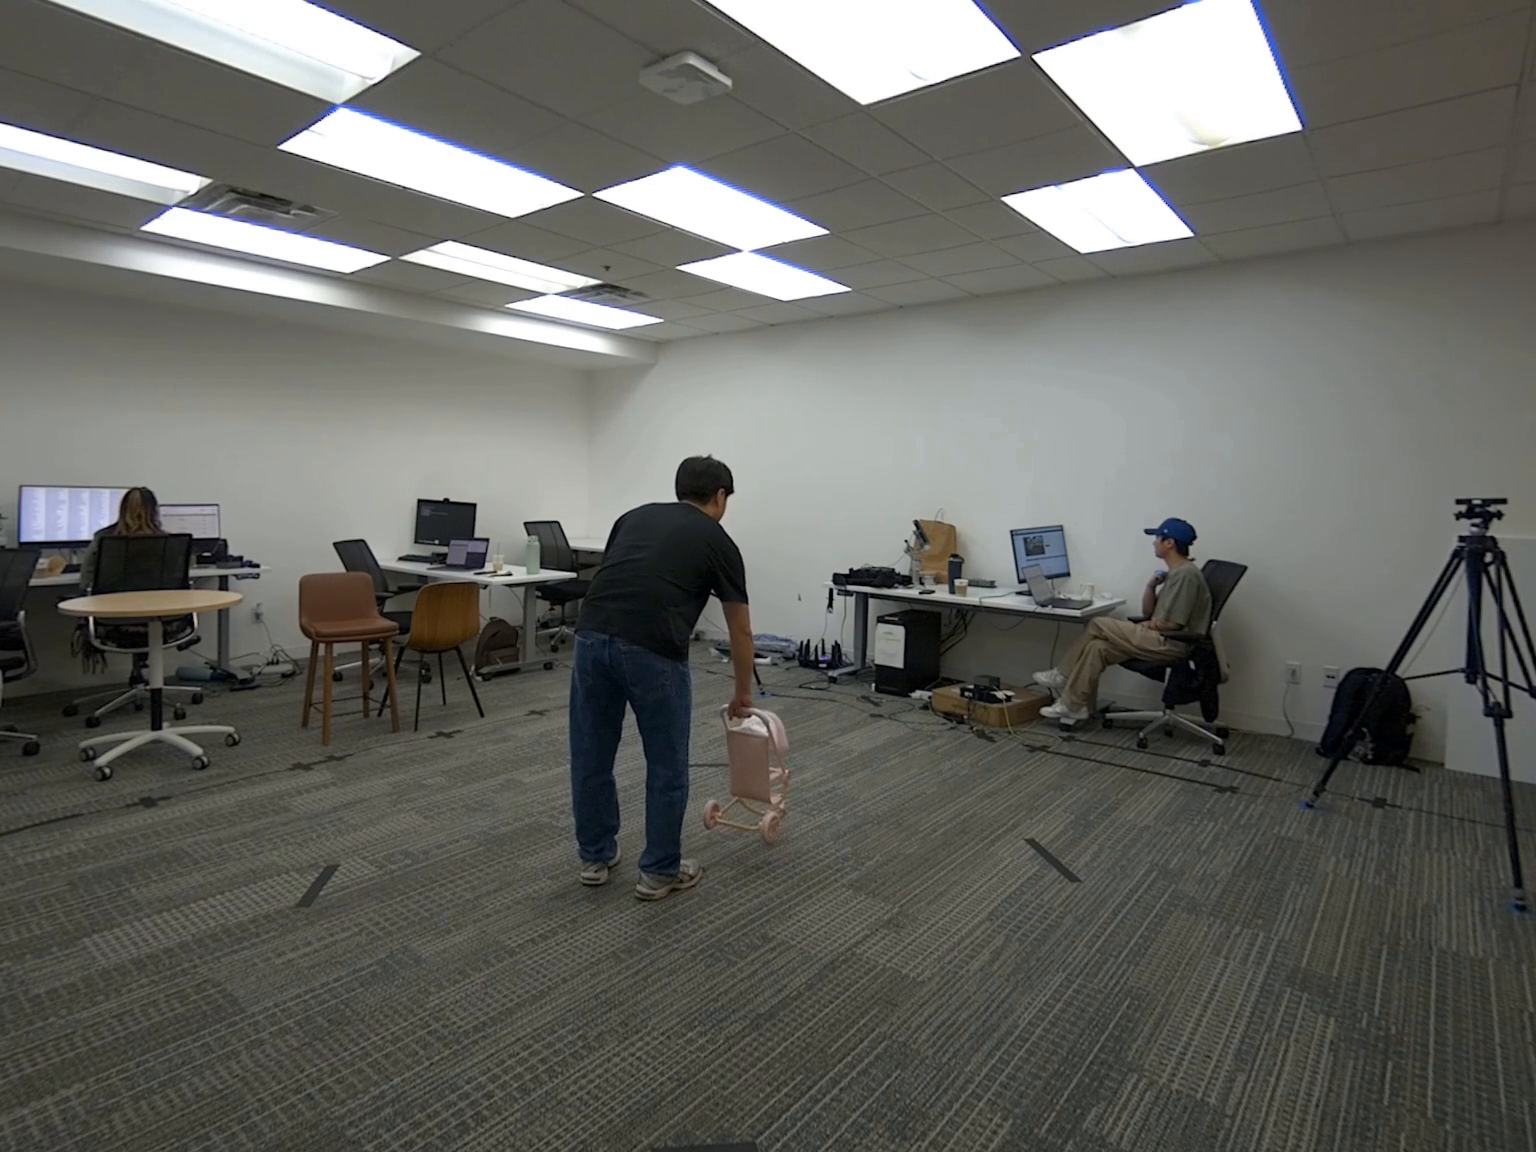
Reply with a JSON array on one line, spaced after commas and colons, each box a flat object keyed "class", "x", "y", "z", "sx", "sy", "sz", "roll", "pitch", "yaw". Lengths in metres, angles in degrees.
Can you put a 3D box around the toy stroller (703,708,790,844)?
[{"class": "toy stroller", "x": -0.053, "y": 0.755, "z": 3.273, "sx": 0.290, "sy": 0.537, "sz": 0.330, "roll": 0, "pitch": -4, "yaw": 32}]
